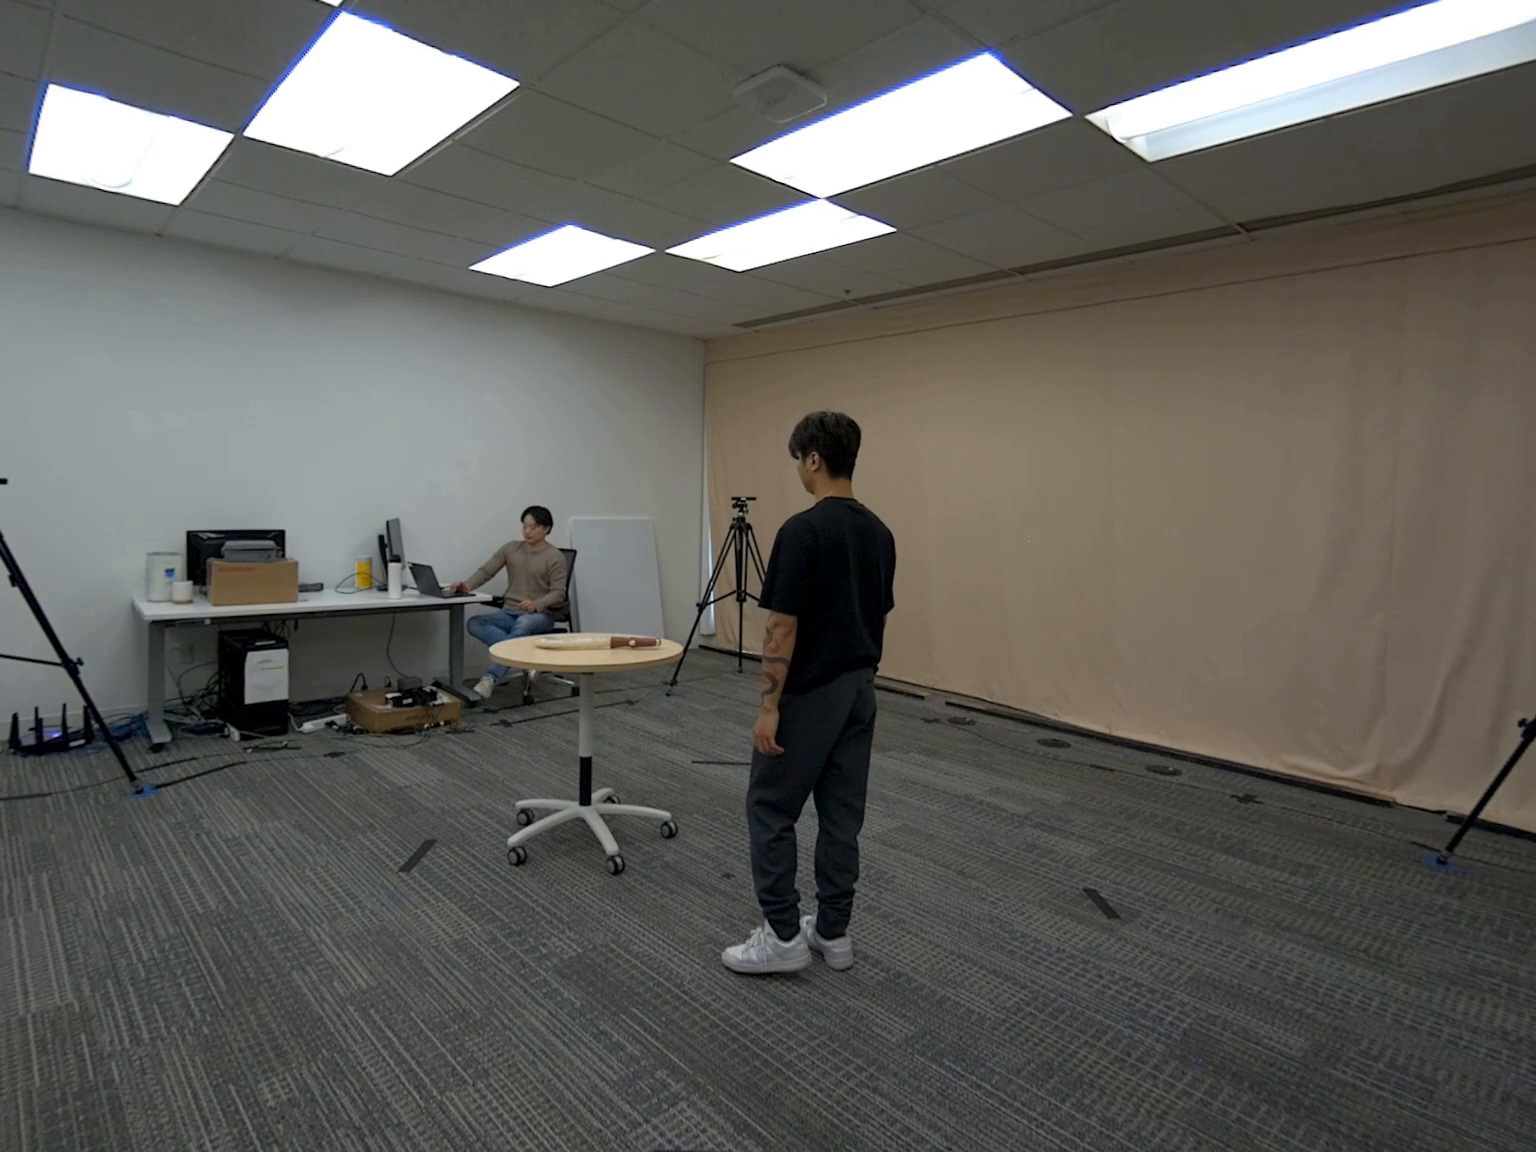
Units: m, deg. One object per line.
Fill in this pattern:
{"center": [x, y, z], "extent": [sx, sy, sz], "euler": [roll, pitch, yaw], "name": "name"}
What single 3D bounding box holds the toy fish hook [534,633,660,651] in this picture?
{"center": [-0.695, 0.259, 3.415], "extent": [0.506, 0.048, 0.226], "euler": [0, 8, -1], "name": "toy fish hook"}
